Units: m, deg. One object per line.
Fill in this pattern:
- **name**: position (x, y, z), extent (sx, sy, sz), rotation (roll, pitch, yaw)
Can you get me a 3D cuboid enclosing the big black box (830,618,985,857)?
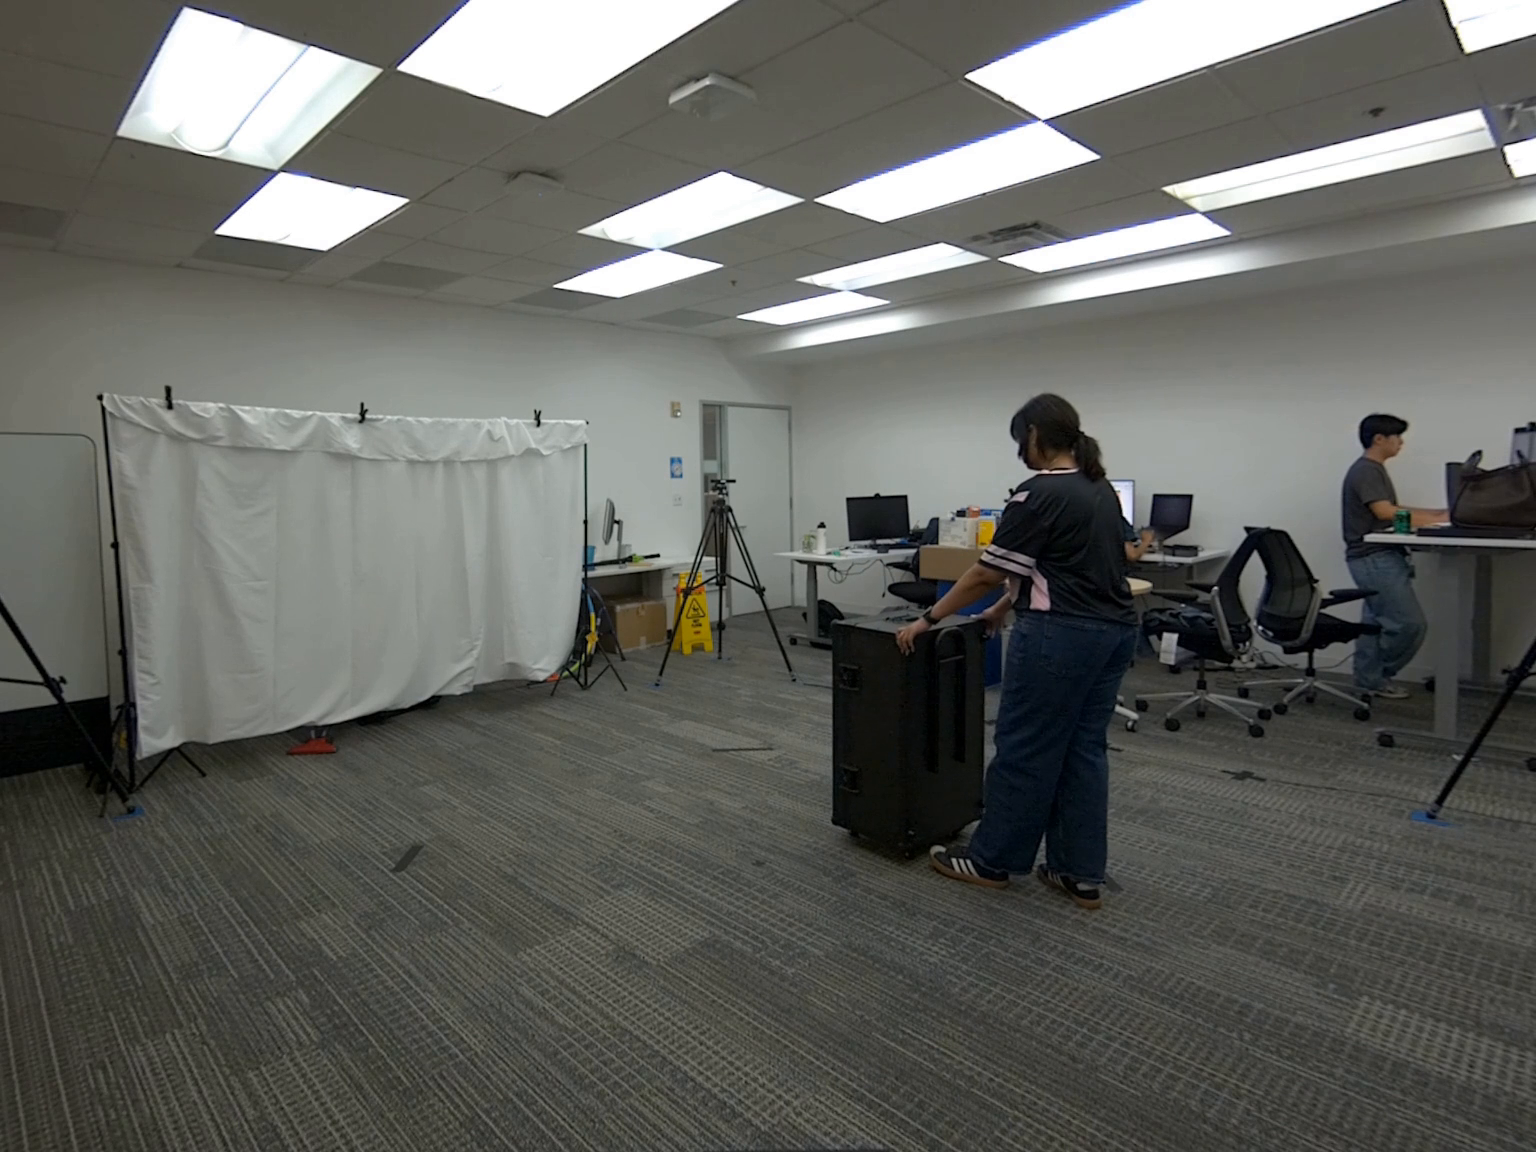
- **big black box**: position (0.548, 0.595, 3.284), extent (0.509, 0.865, 0.397), rotation (-5, 6, -41)
